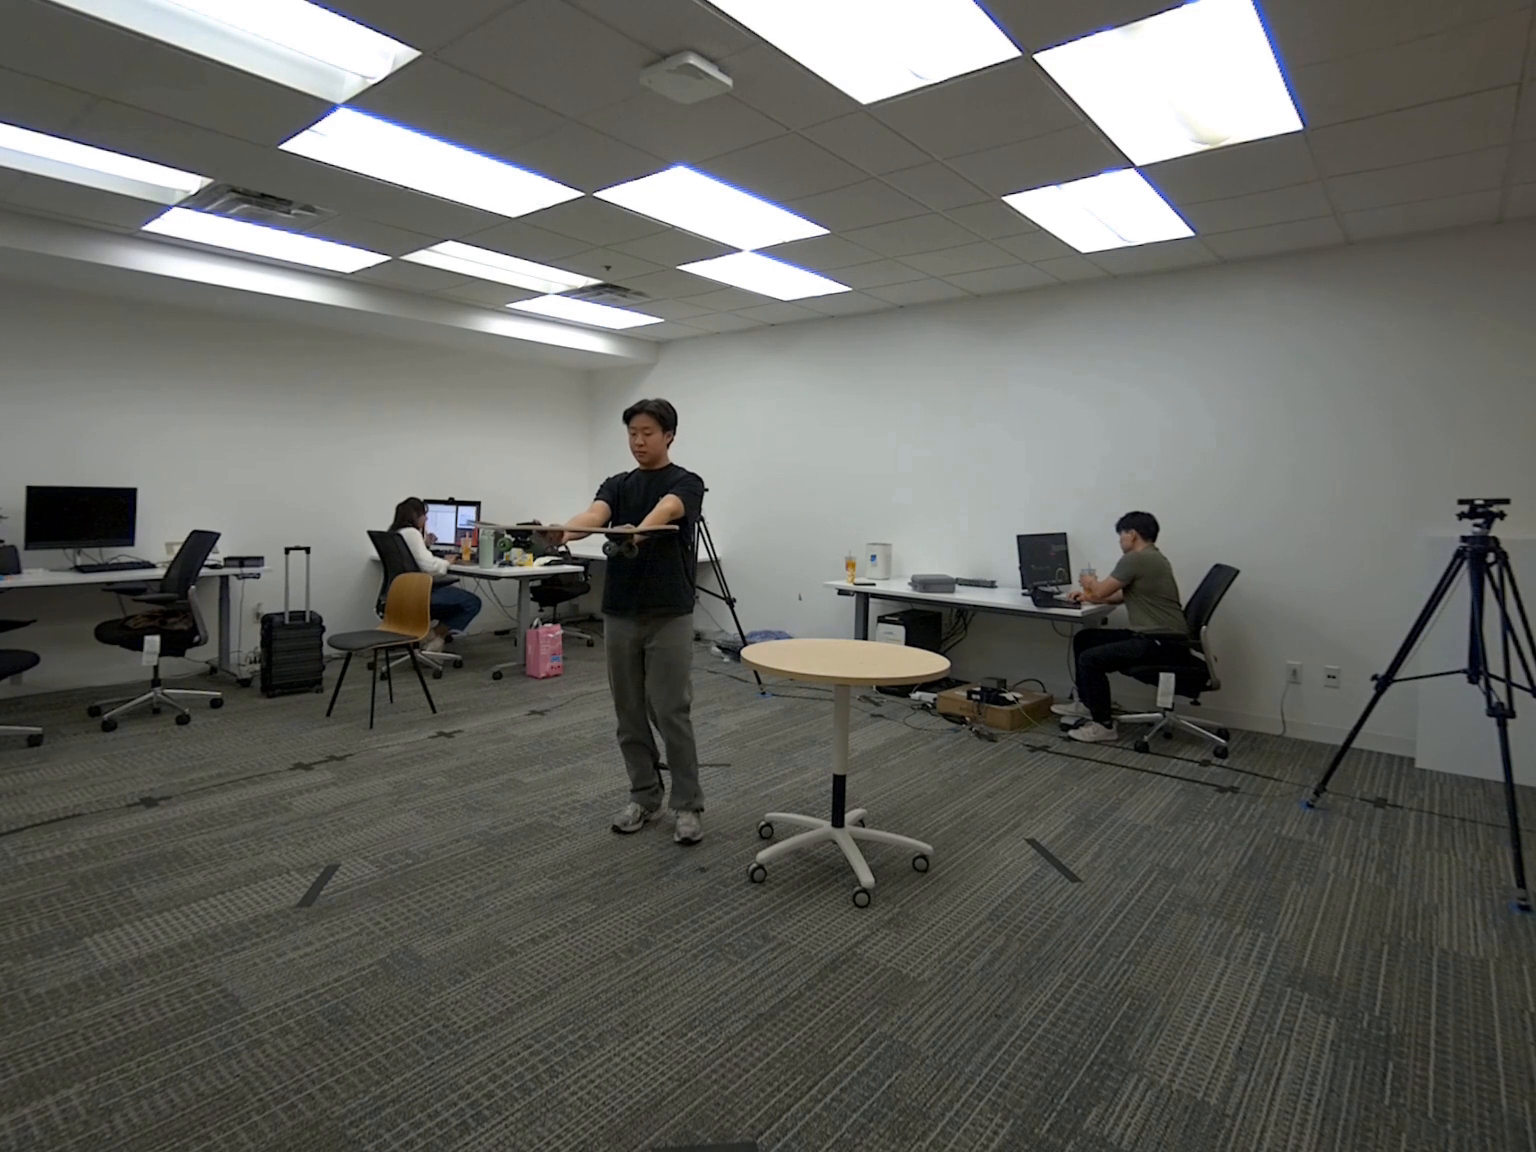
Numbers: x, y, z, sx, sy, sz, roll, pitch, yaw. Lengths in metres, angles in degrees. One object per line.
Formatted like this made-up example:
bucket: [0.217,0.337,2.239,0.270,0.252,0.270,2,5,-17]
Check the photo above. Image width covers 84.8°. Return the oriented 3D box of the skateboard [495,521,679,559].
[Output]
skateboard: [-0.686,-0.126,2.894,0.802,0.111,0.189,2,-2,20]
